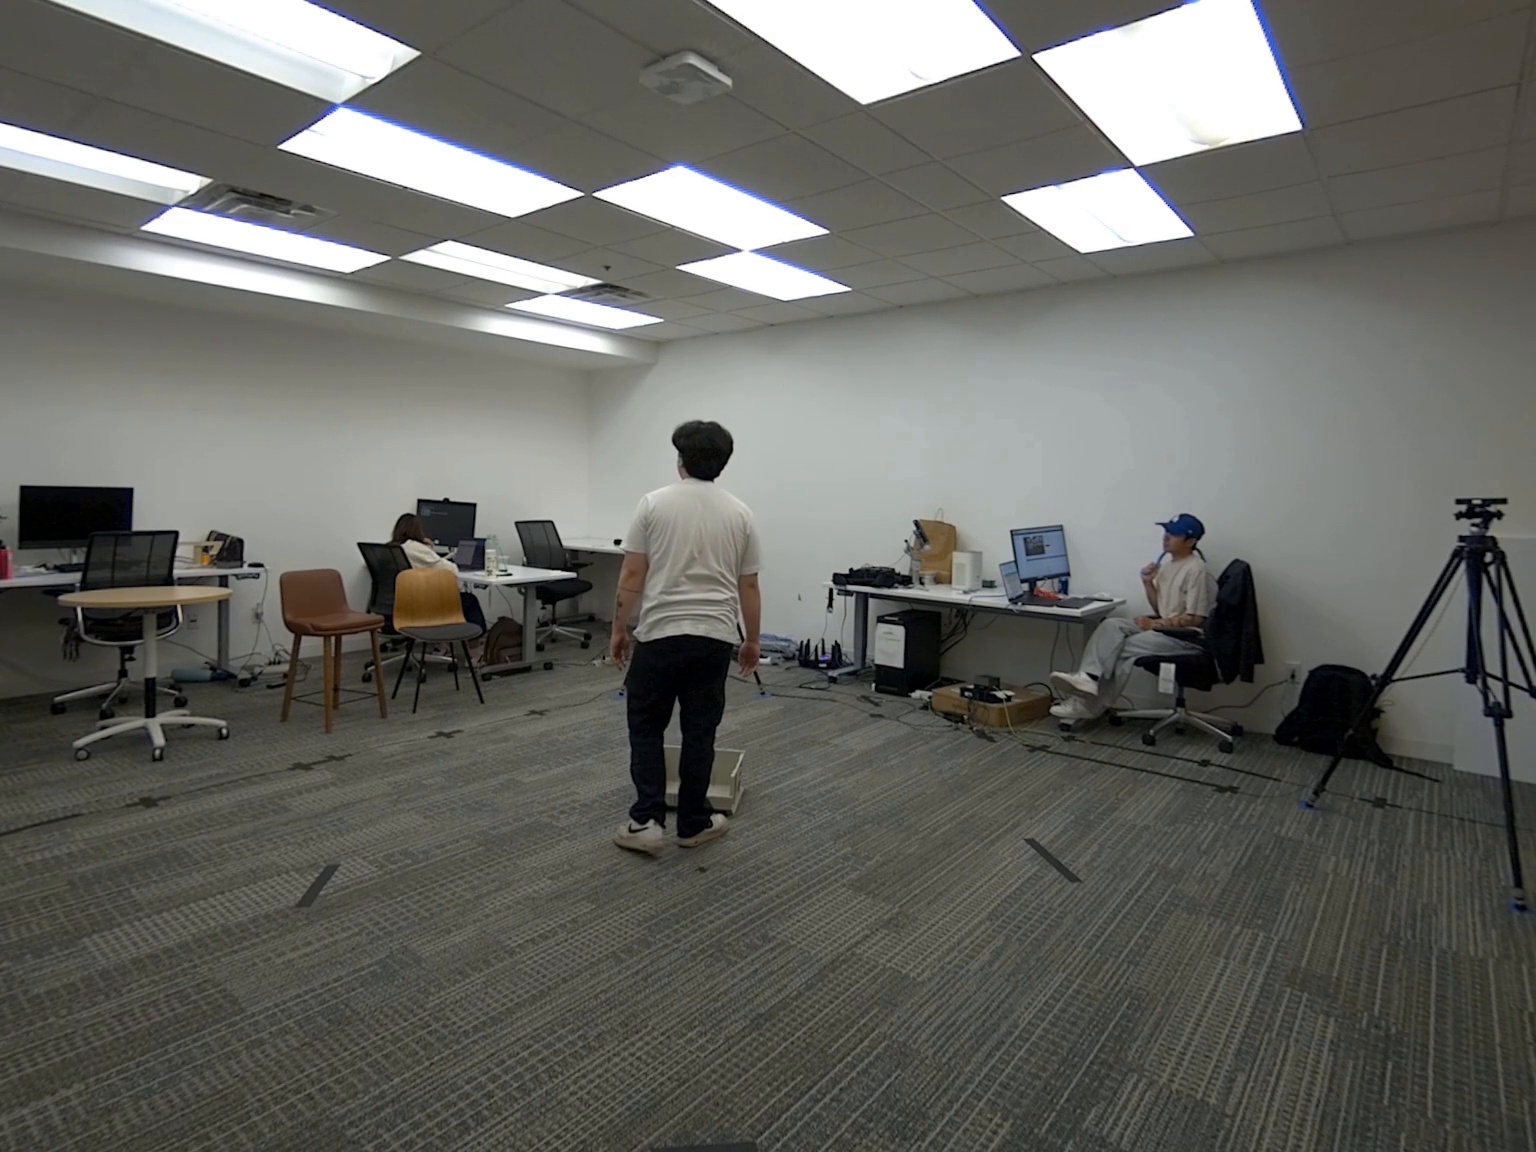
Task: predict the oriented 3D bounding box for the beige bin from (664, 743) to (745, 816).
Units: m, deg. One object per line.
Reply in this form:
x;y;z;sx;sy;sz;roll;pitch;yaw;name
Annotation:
-0.343;0.908;3.808;0.426;0.188;0.375;1;4;7;beige bin
